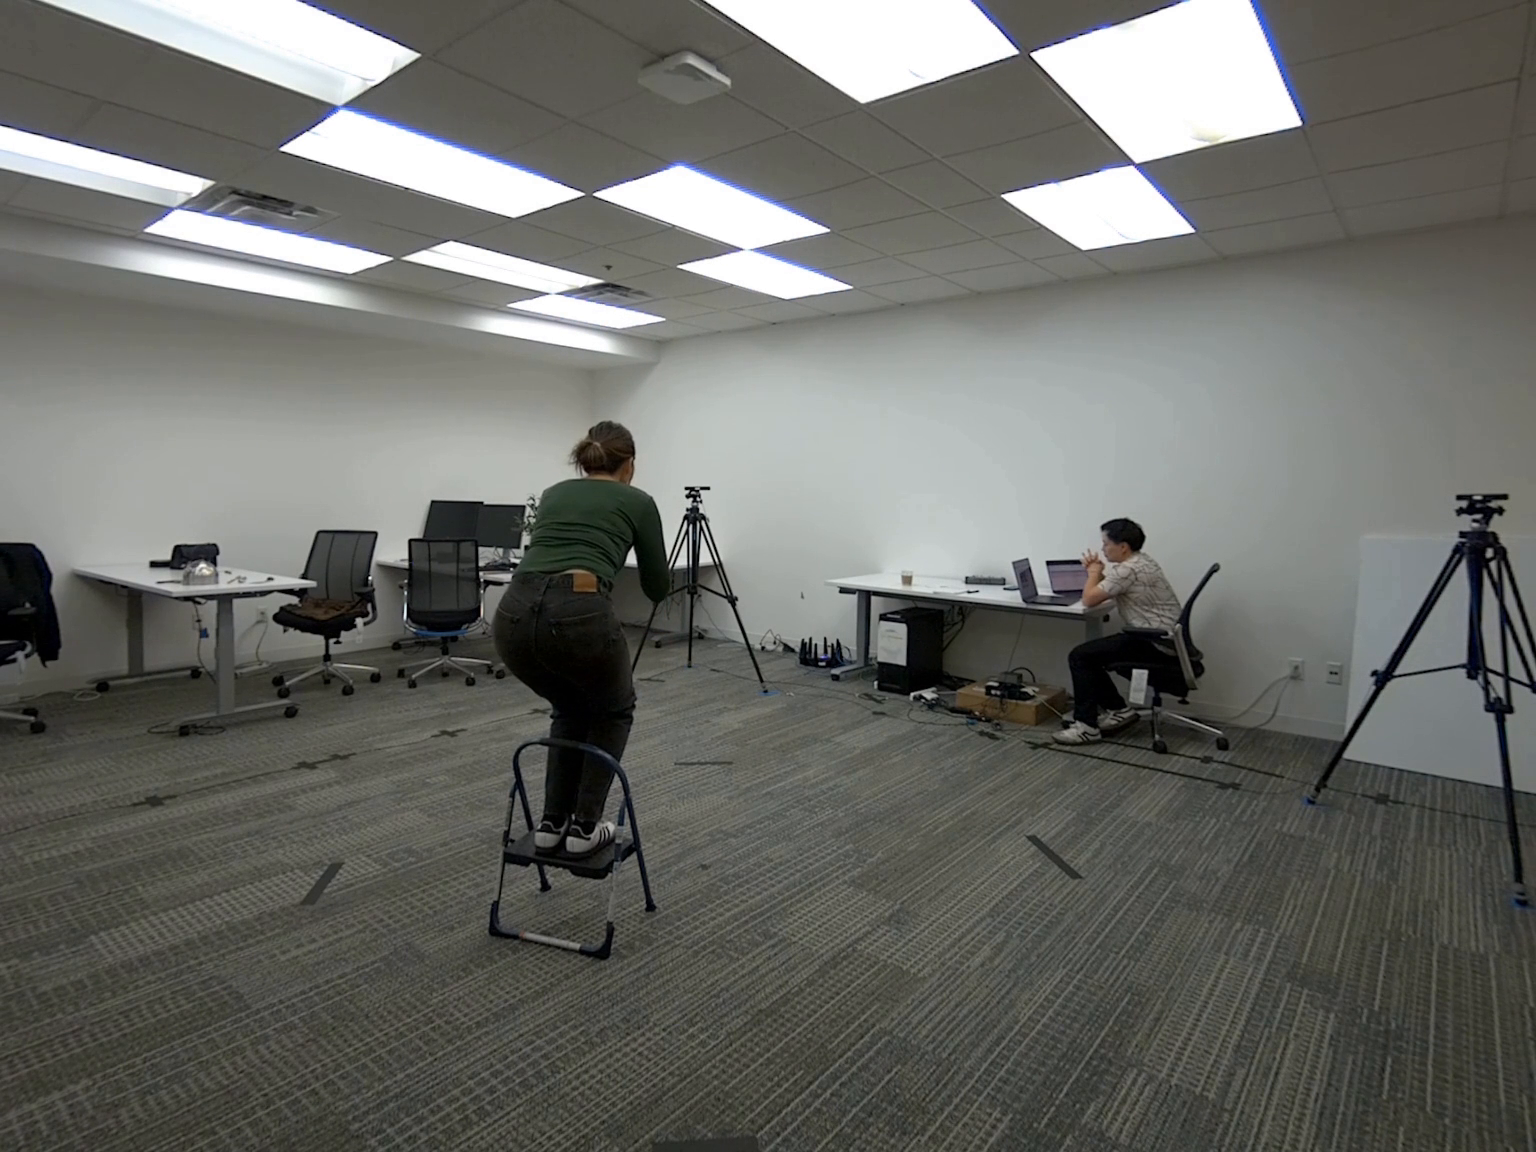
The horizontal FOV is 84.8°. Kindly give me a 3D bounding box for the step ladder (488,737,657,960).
[{"bbox_3d":[-0.629,0.799,2.699,0.439,0.604,0.343,2,4,18],"label":"step ladder"}]
